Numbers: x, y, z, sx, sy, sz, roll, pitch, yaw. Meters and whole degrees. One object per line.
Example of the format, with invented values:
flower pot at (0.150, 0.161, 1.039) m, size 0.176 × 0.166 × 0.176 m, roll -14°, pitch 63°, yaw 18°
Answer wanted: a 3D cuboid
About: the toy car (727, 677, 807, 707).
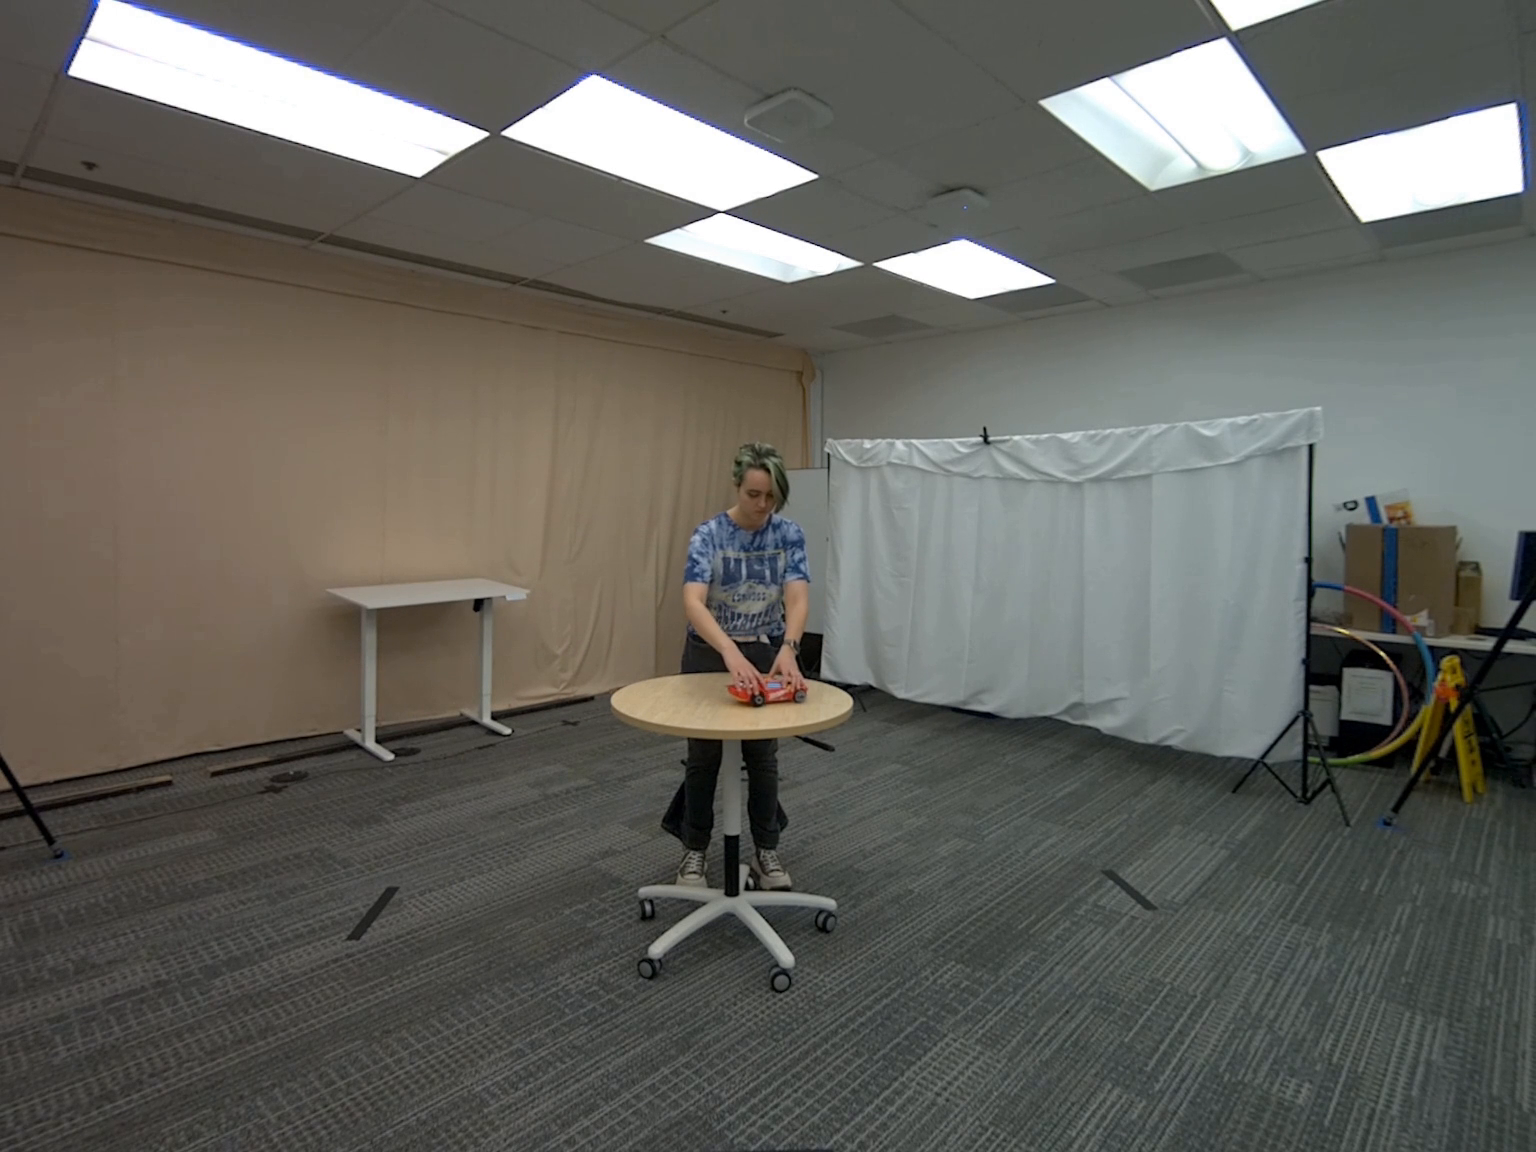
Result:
toy car at (-0.008, 0.360, 2.620) m, size 0.248 × 0.083 × 0.133 m, roll 10°, pitch 1°, yaw -22°
